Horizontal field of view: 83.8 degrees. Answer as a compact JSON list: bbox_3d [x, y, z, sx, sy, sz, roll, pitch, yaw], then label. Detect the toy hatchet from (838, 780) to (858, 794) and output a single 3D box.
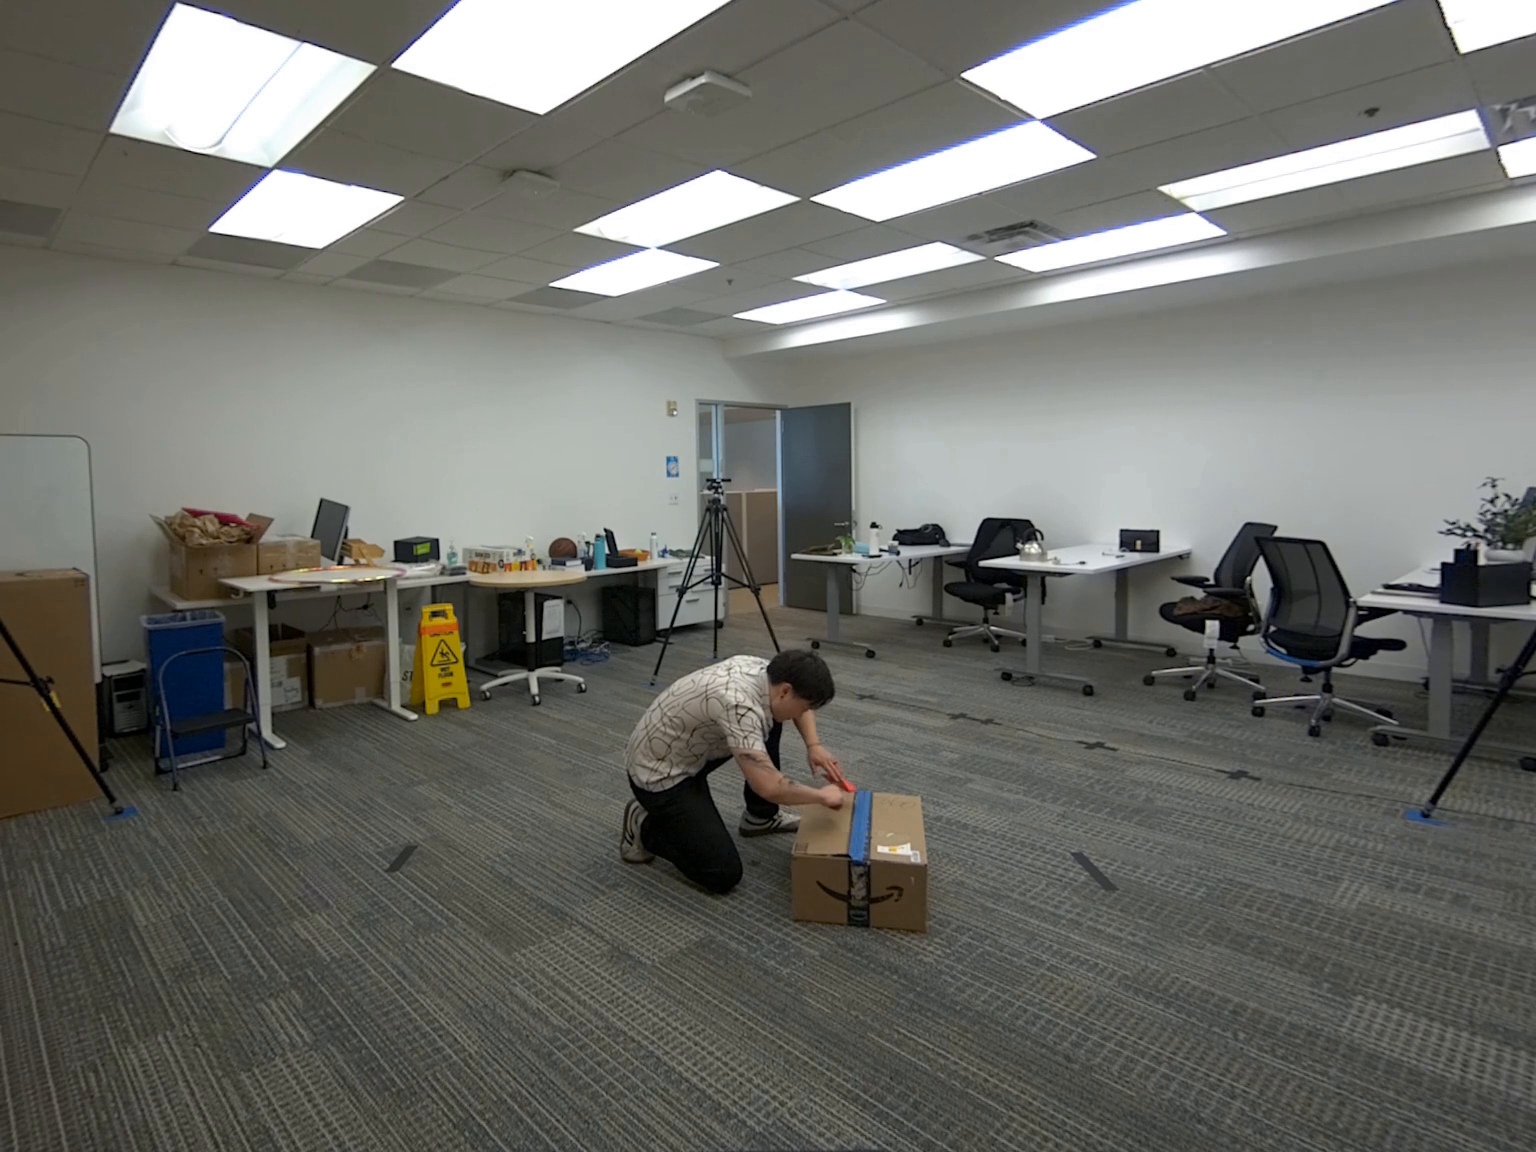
[{"bbox_3d":[0.299,0.766,3.015,0.128,0.029,0.277,11,10,-20],"label":"toy hatchet"}]
